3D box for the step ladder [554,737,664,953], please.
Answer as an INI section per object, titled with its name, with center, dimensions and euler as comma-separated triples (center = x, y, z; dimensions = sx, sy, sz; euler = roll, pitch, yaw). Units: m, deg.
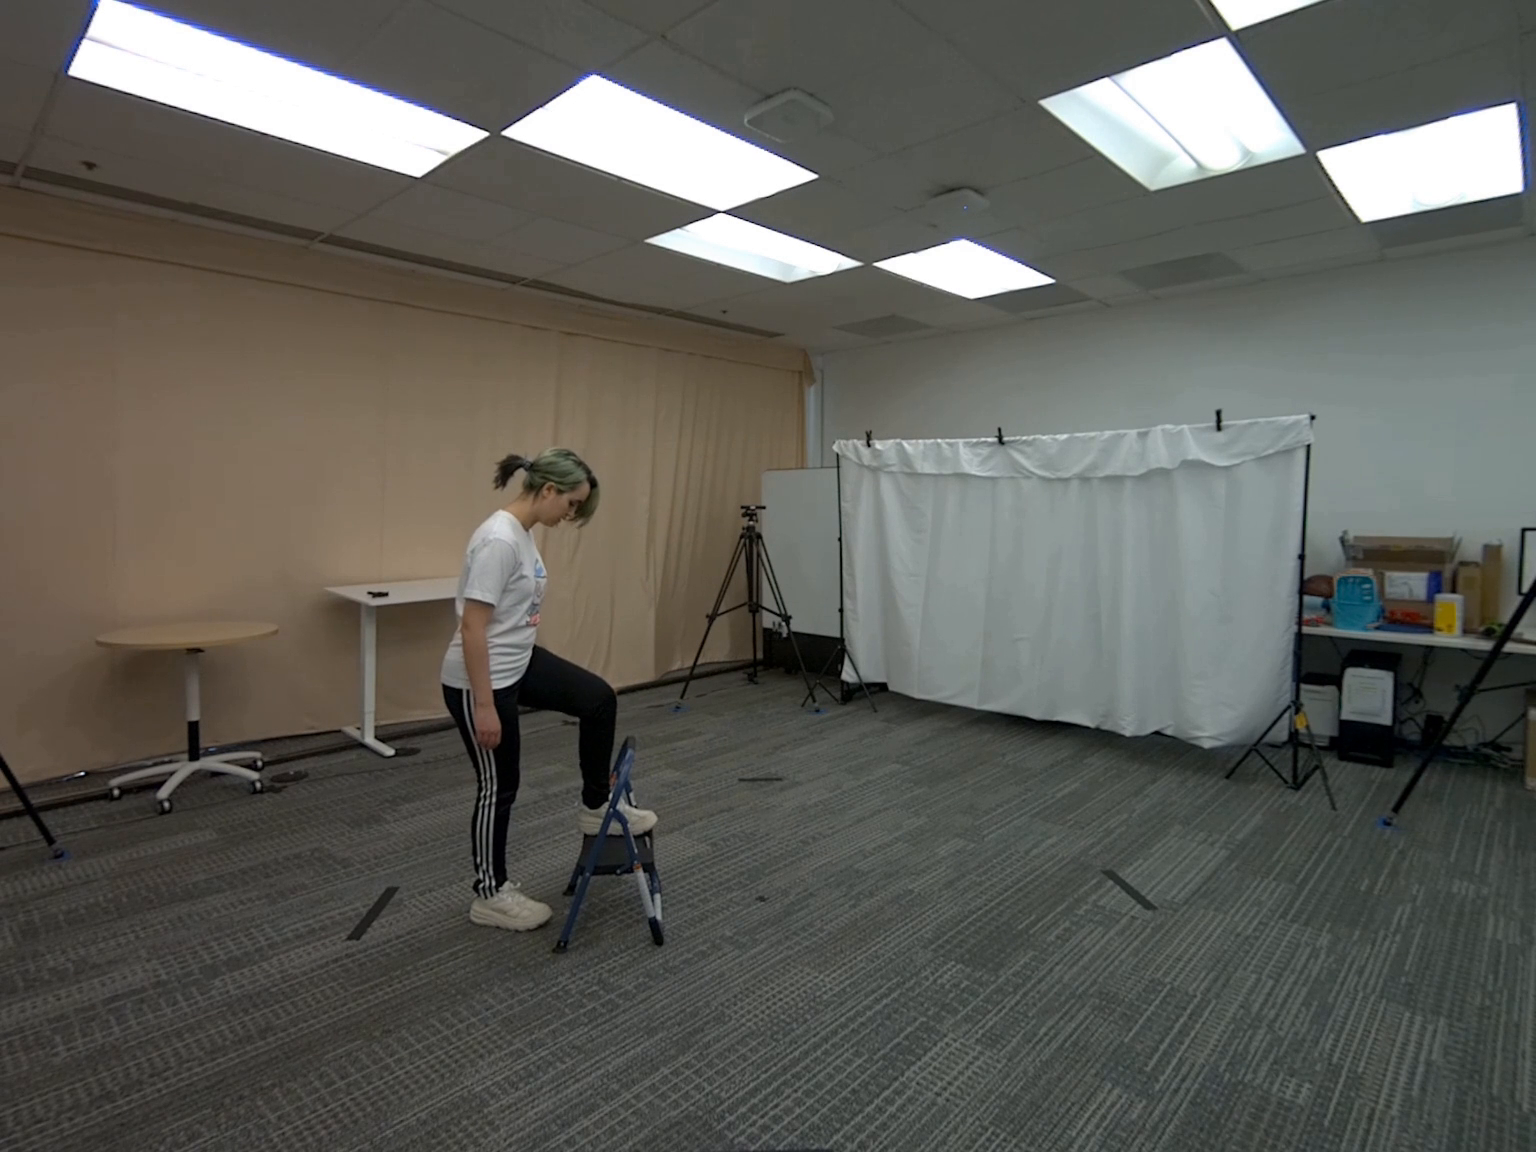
[step ladder]
center = -0.534, 0.862, 2.834
dimensions = 0.347, 0.605, 0.435
euler = -1, 3, -8
